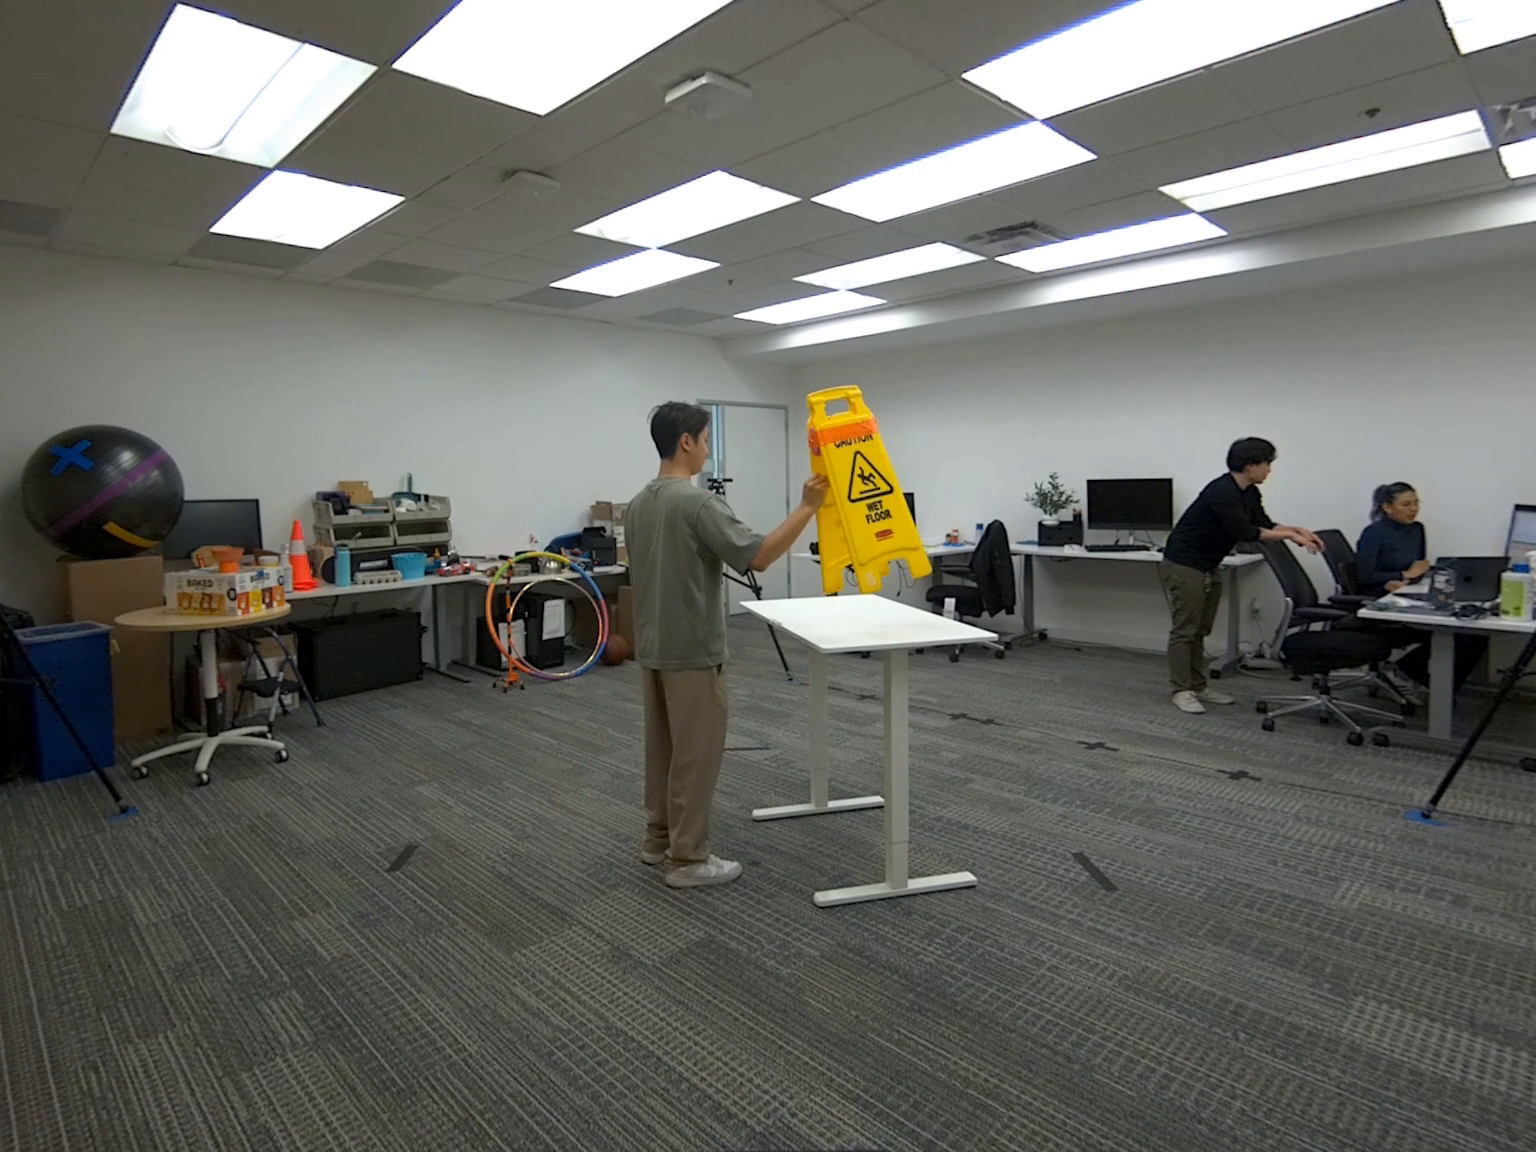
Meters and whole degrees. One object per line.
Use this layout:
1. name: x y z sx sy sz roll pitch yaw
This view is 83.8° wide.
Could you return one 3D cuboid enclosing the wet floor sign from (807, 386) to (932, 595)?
1. wet floor sign: 0.281 -0.289 2.783 0.277 0.644 0.296 -15 4 -27
